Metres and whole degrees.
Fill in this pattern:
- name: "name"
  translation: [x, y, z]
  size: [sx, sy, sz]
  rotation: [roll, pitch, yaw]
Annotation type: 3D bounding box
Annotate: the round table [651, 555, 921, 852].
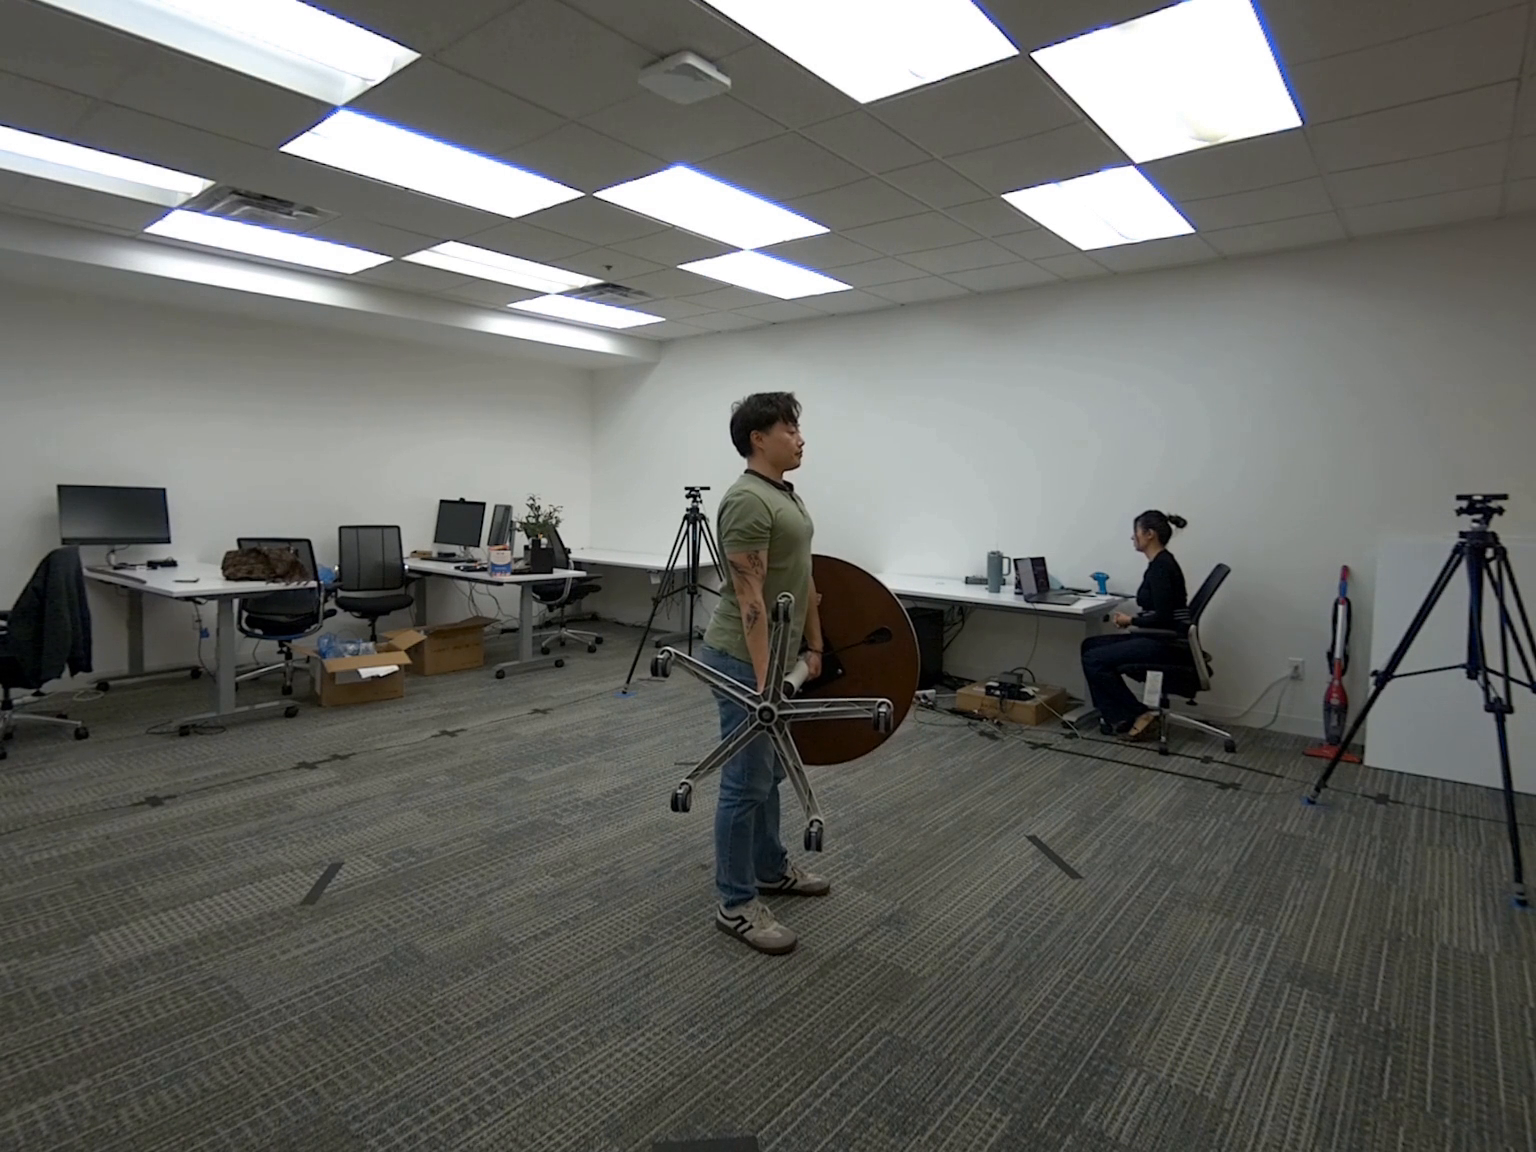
- name: "round table"
  translation: [0.061, 0.357, 2.670]
  size: [0.776, 0.760, 0.786]
  rotation: [2, 7, 14]
